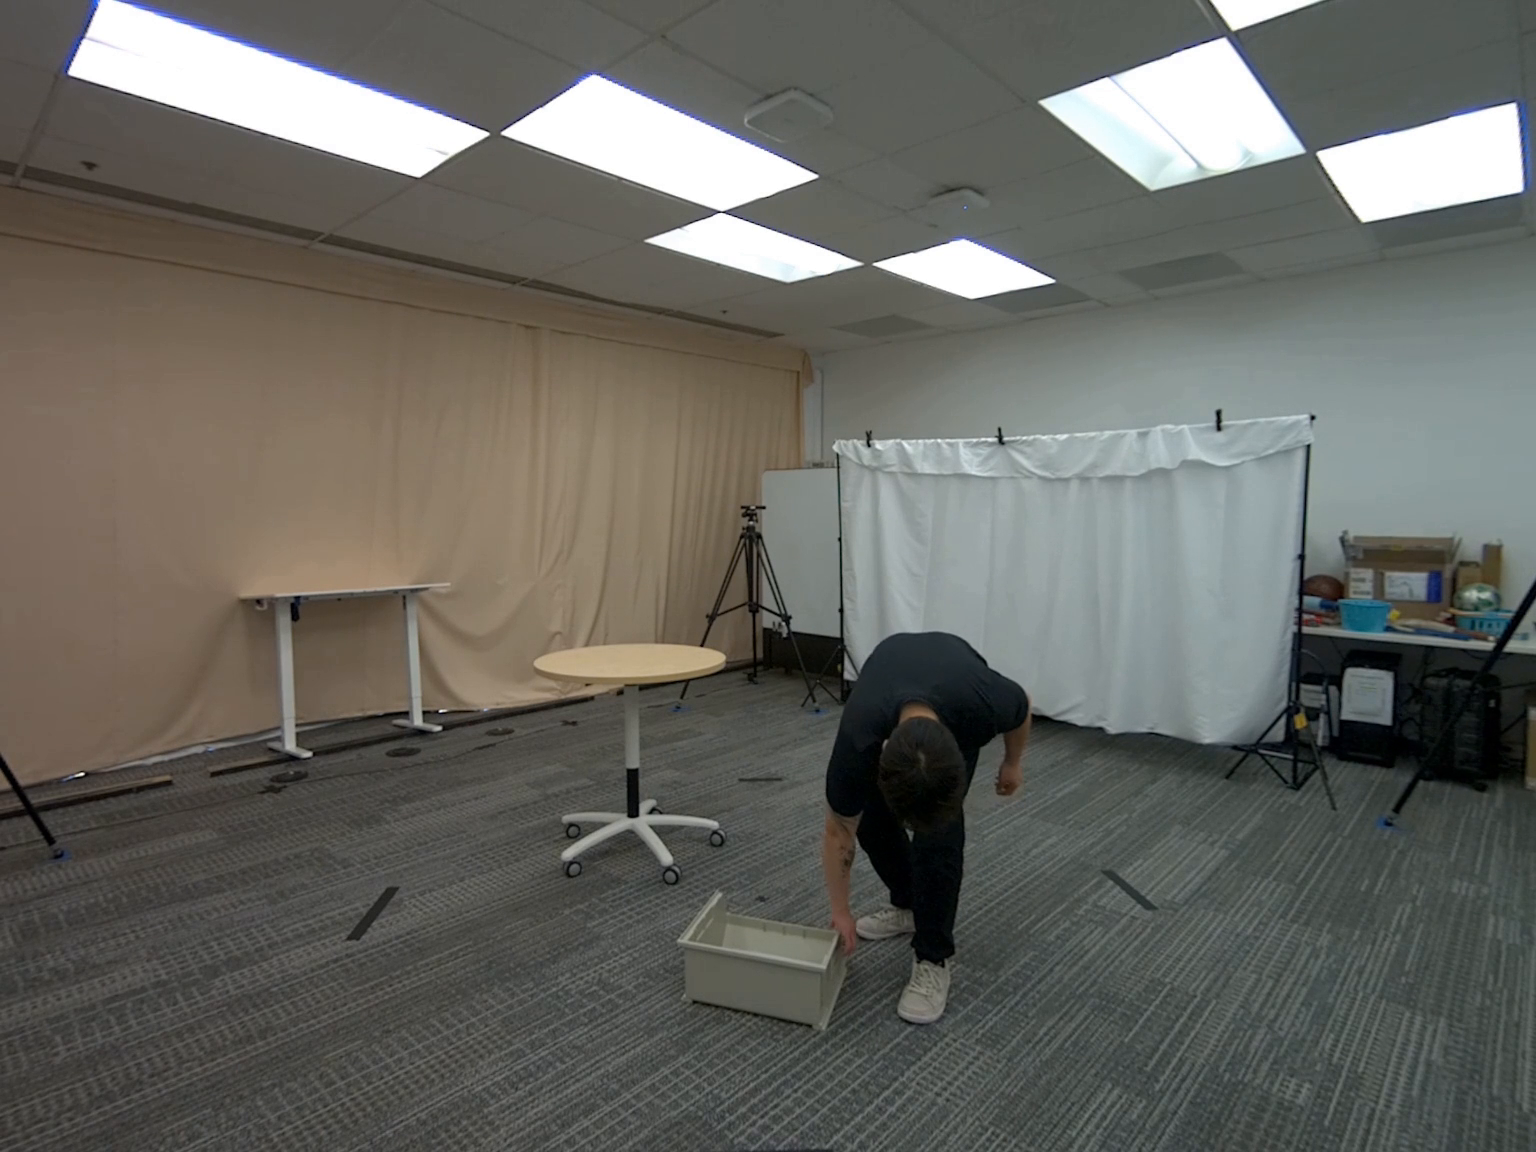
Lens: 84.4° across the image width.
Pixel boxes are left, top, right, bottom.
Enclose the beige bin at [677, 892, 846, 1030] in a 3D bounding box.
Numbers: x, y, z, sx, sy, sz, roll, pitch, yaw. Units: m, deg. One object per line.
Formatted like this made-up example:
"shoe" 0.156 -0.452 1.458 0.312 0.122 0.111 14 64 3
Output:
"beige bin" 0.000 1.105 2.450 0.430 0.188 0.371 1 5 17
